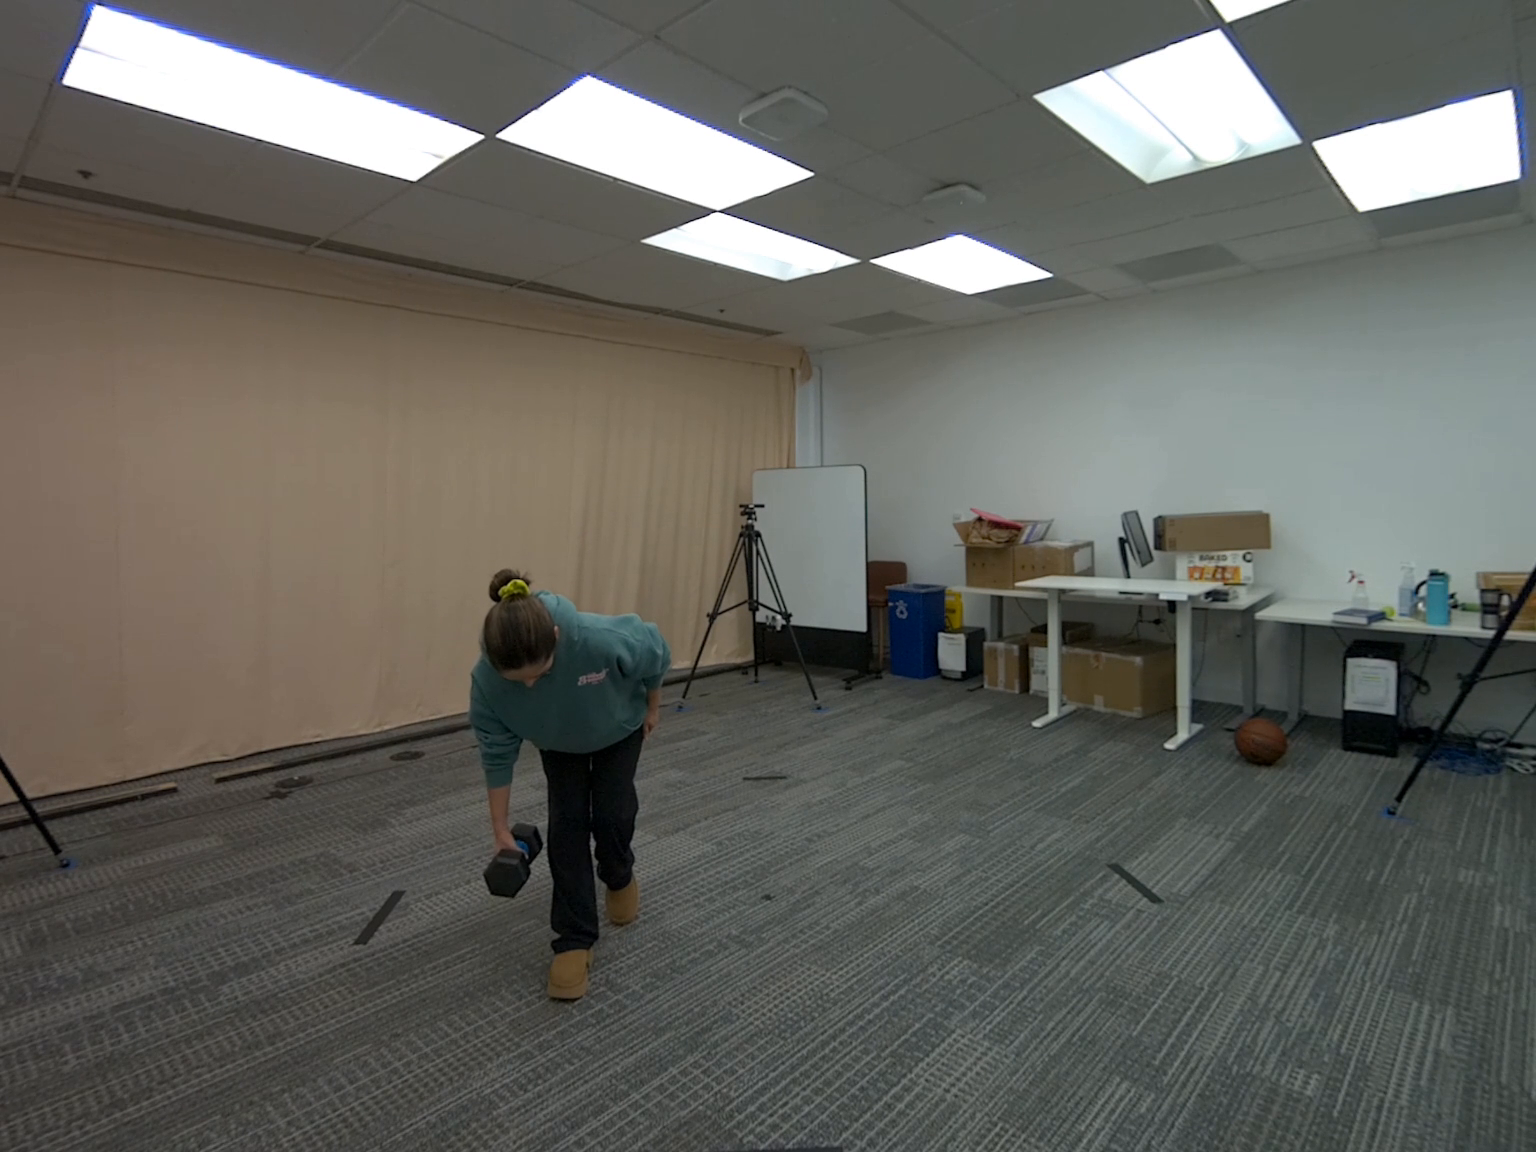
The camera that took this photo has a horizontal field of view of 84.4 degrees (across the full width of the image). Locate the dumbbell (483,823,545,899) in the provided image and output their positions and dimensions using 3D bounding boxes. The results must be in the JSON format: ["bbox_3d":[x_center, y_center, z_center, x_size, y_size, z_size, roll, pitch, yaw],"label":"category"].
[{"bbox_3d":[-0.718,0.808,2.403,0.108,0.122,0.295,-22,4,-5],"label":"dumbbell"}]
